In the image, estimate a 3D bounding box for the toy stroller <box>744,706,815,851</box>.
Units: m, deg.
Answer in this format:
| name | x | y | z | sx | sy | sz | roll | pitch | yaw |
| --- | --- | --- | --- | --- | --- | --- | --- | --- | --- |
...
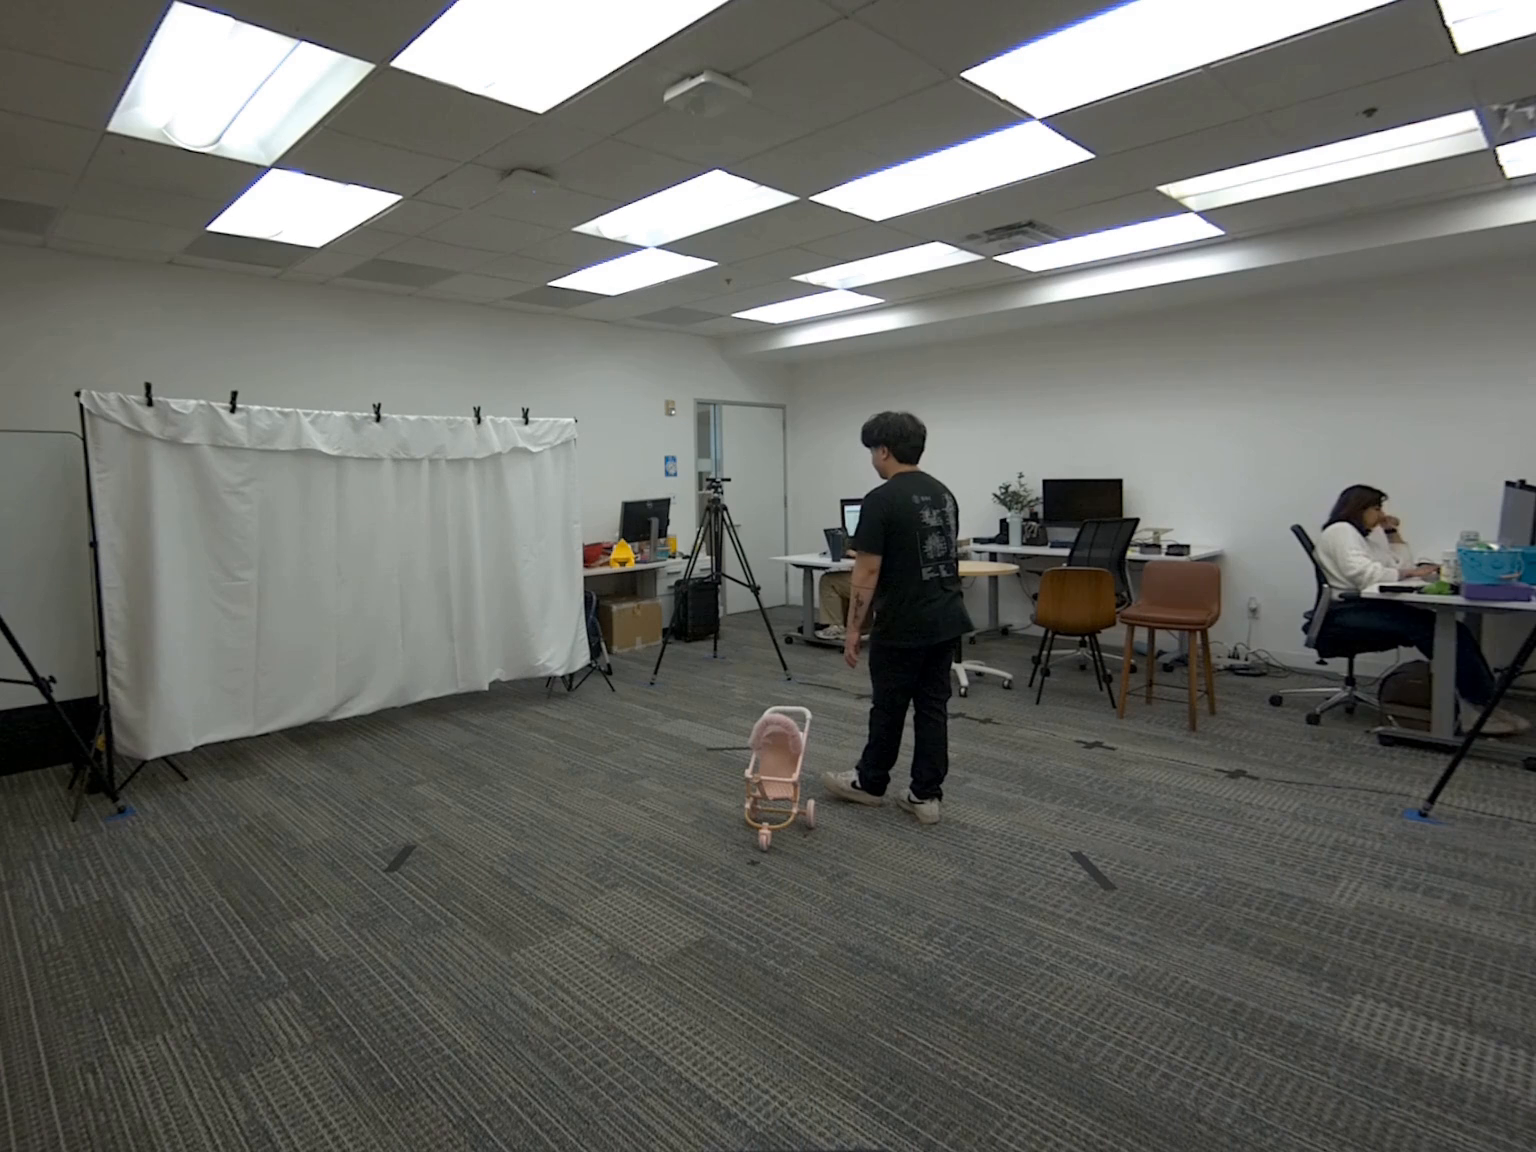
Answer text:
| name | x | y | z | sx | sy | sz | roll | pitch | yaw |
| --- | --- | --- | --- | --- | --- | --- | --- | --- | --- |
| toy stroller | 0.031 | 0.785 | 3.377 | 0.287 | 0.540 | 0.332 | 0 | -10 | 20 |
